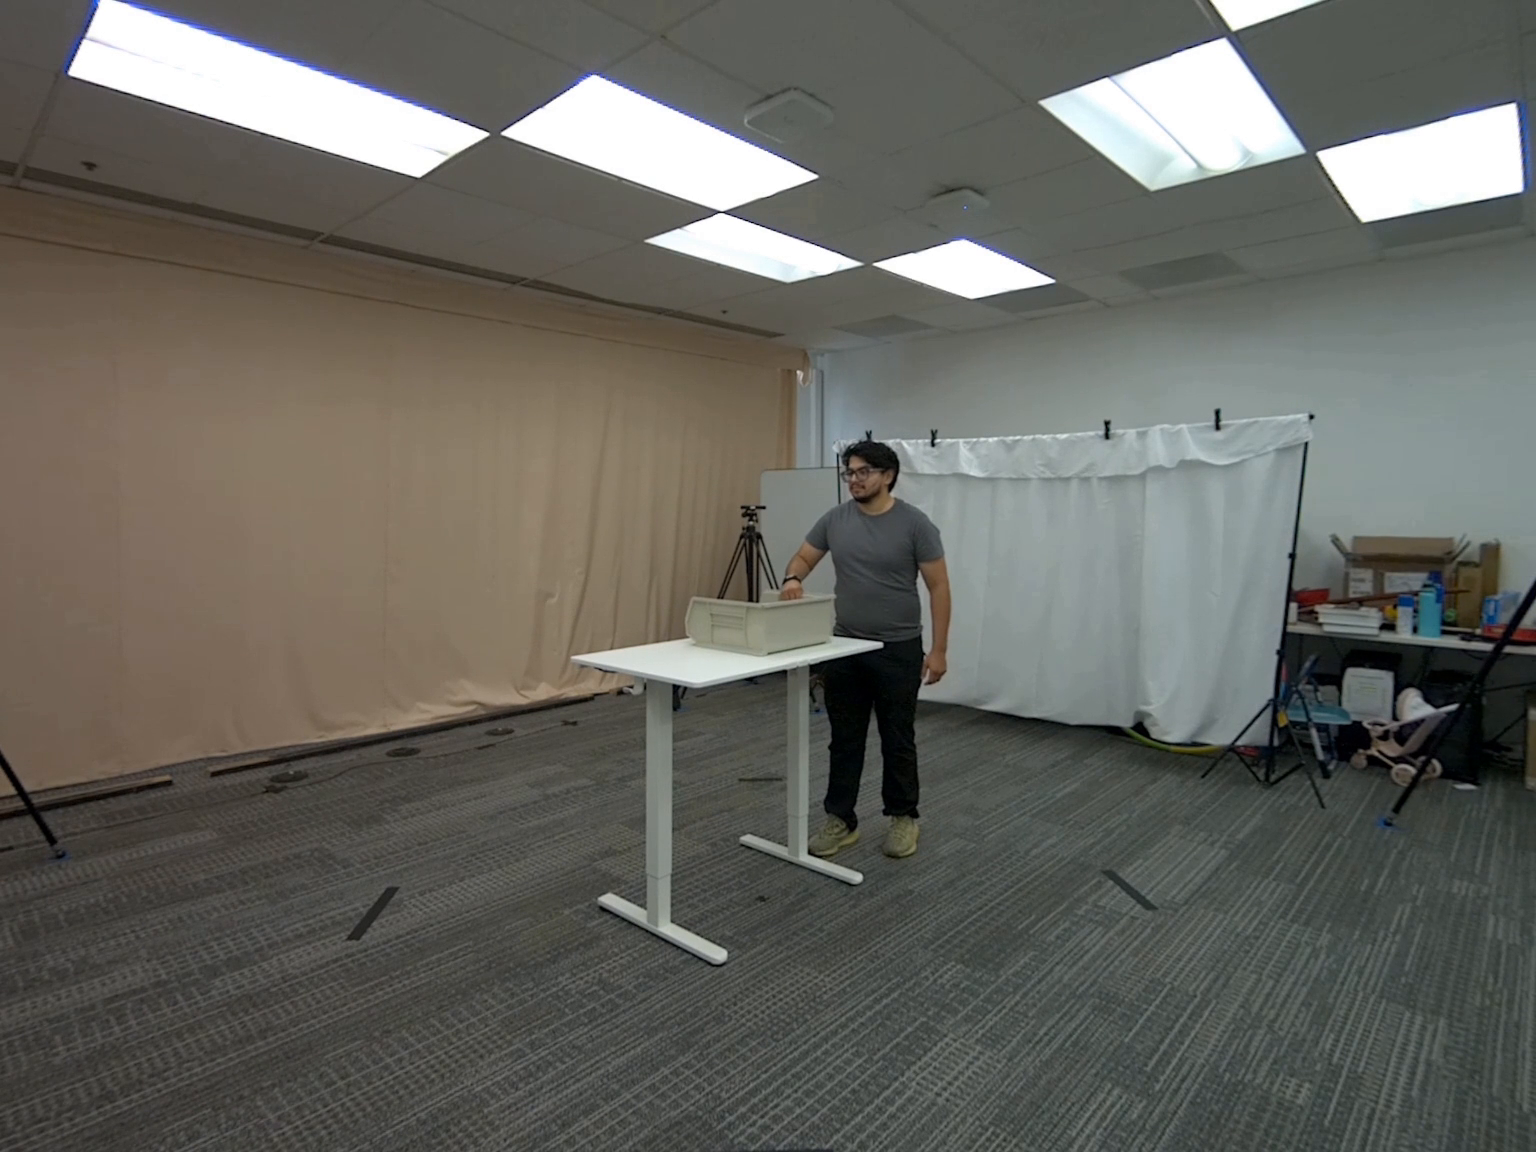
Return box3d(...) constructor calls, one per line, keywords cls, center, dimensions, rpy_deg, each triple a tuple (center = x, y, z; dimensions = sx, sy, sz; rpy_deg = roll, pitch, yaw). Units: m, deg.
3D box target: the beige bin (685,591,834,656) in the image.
box3d(cls="beige bin", center=(-0.026, 0.161, 3.102), dimensions=(0.390, 0.188, 0.409), rpy_deg=(6, 7, 41))
